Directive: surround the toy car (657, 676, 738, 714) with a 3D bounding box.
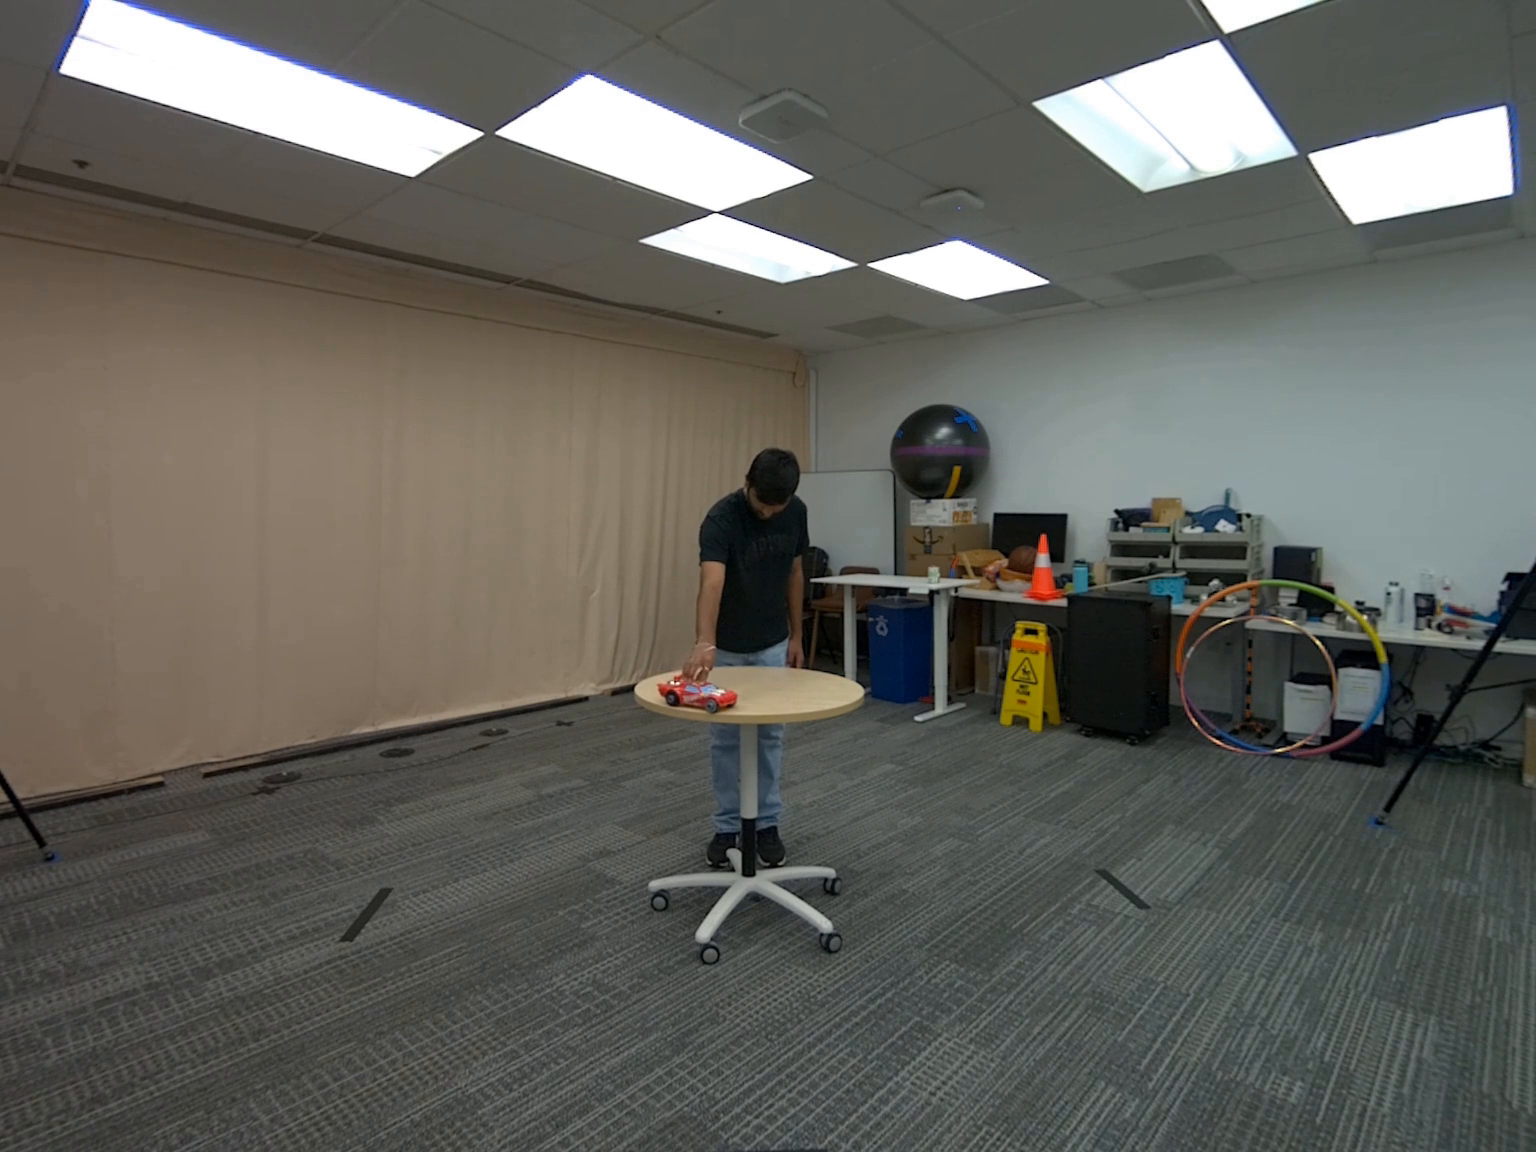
[{"bbox_3d":[-0.225,0.362,2.568,0.263,0.083,0.126,15,10,32],"label":"toy car"}]
